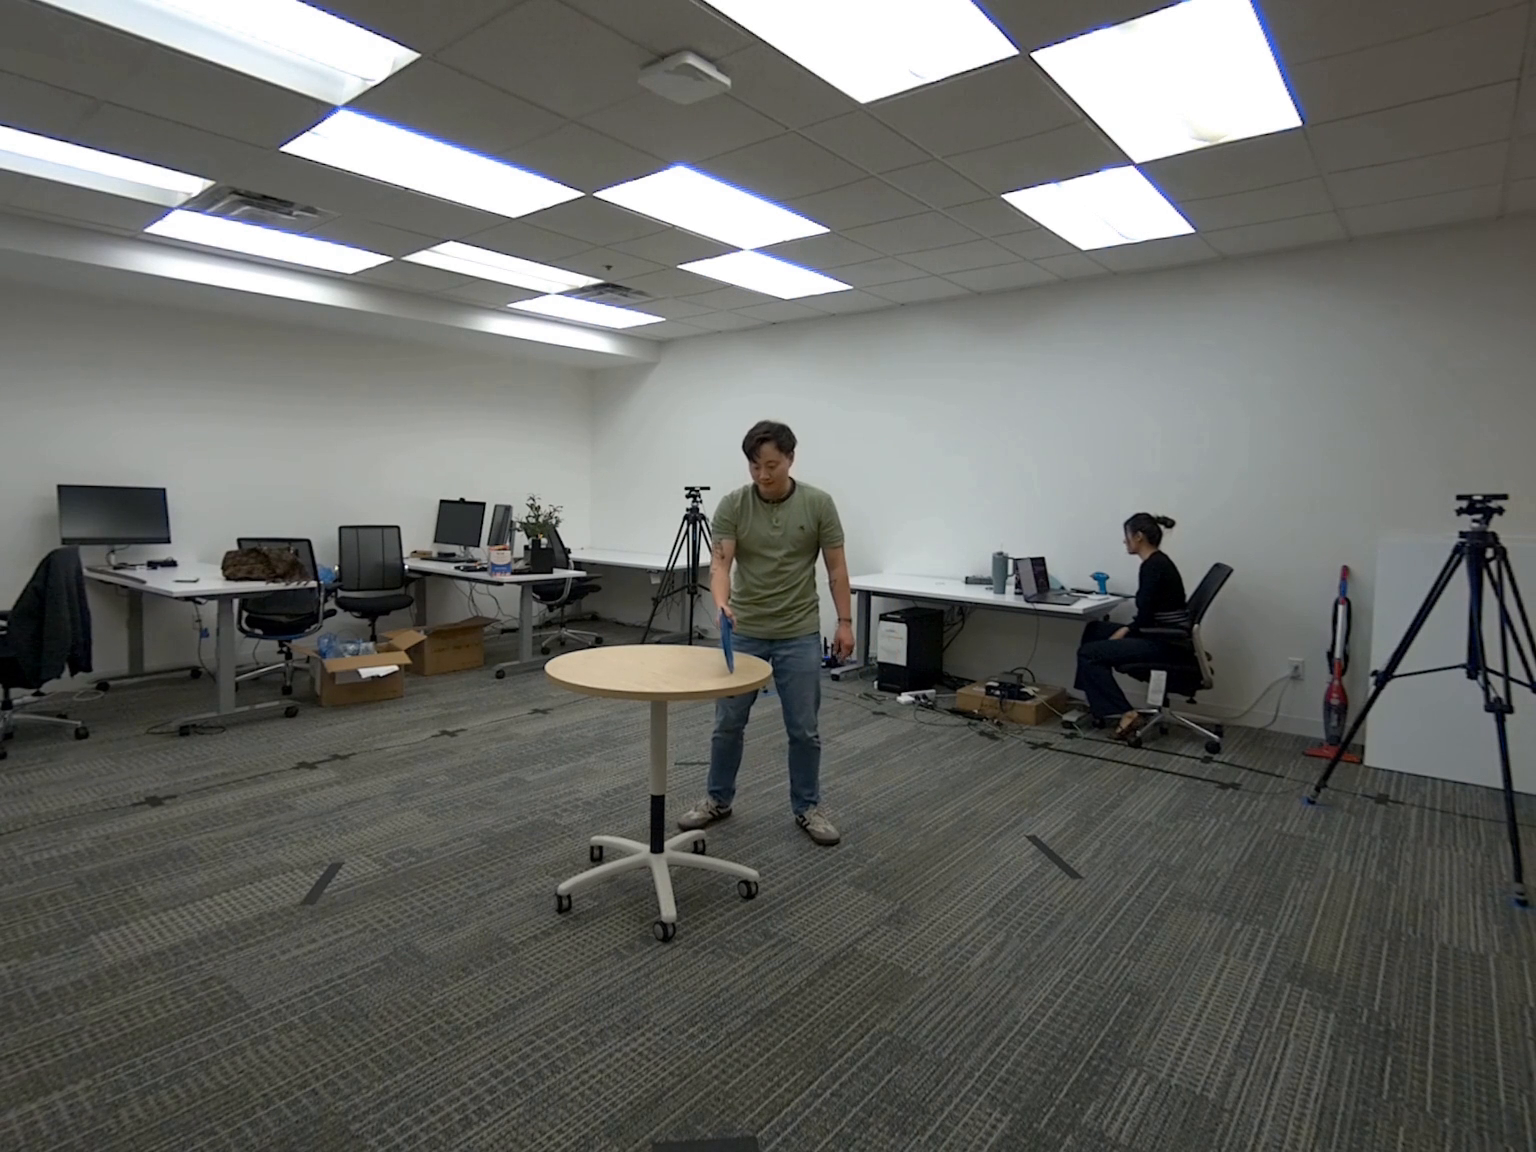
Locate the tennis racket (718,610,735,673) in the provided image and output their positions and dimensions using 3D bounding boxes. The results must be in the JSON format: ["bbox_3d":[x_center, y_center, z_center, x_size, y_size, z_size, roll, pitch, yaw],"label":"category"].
[{"bbox_3d":[-0.158,0.193,2.914,0.032,0.211,0.435,-5,11,4],"label":"tennis racket"}]
